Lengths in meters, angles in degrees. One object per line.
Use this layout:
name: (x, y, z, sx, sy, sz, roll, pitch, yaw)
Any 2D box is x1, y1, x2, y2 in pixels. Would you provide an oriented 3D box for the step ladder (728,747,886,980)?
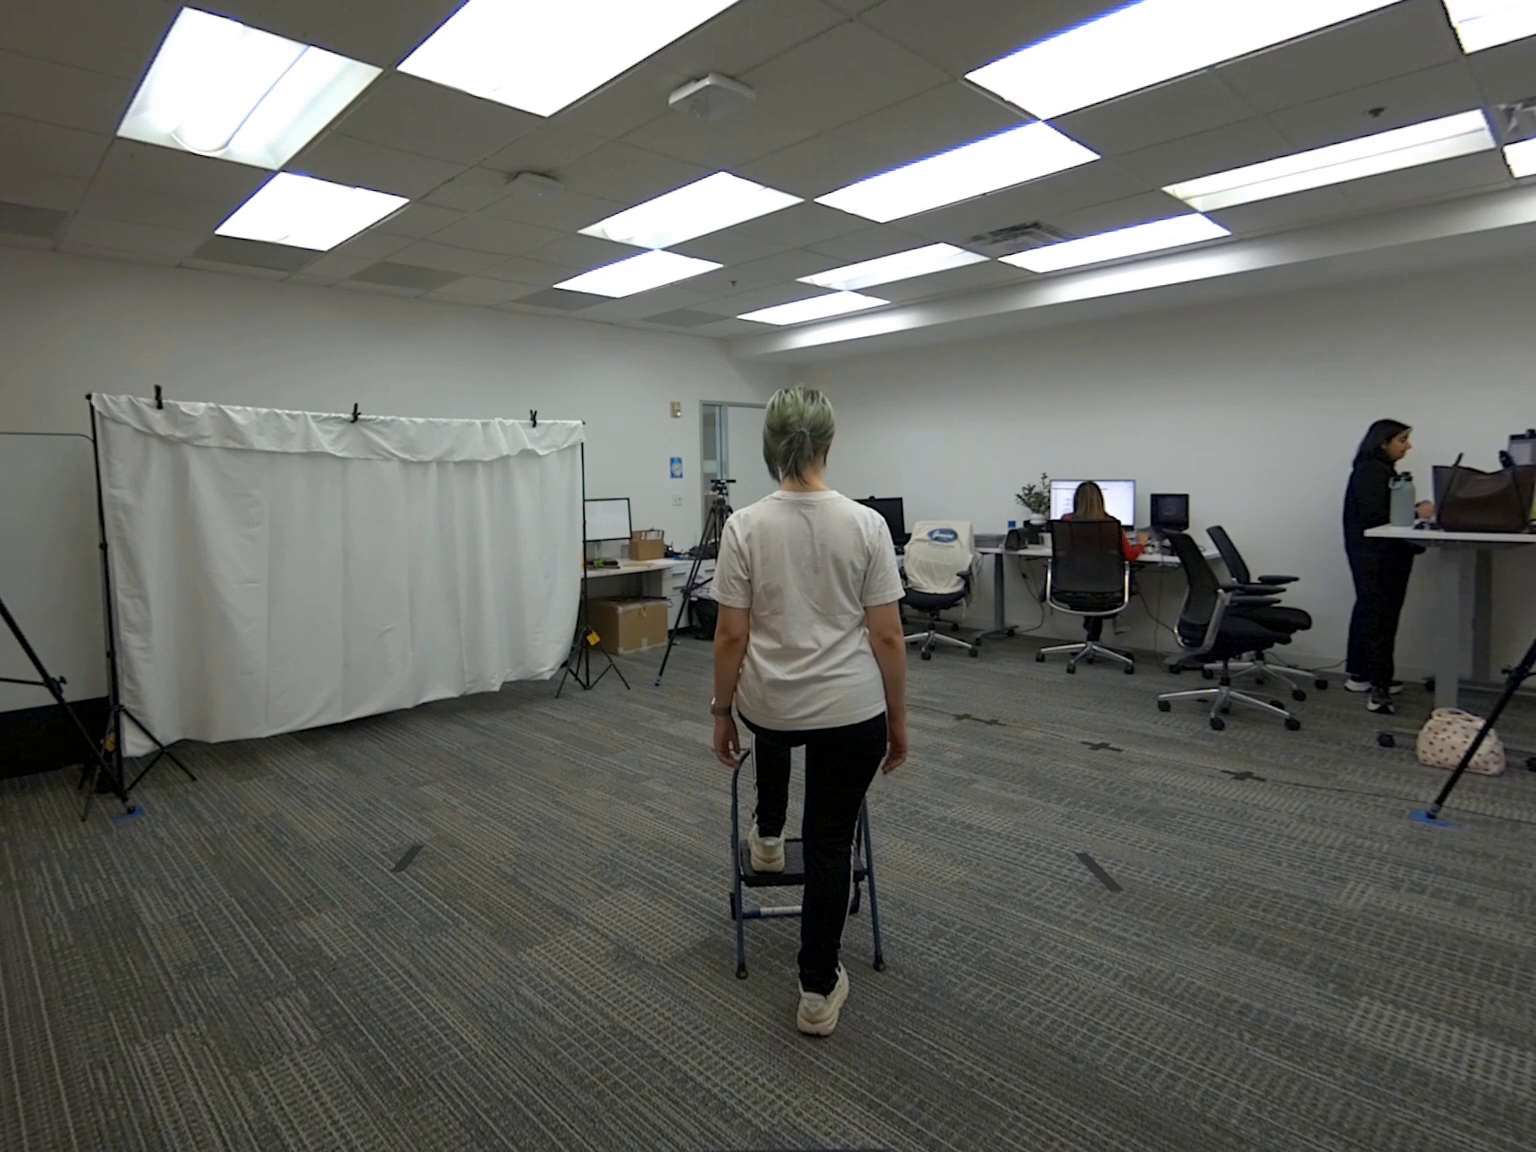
step ladder: (0.107, 0.812, 2.565, 0.429, 0.604, 0.352, -1, 4, -5)
